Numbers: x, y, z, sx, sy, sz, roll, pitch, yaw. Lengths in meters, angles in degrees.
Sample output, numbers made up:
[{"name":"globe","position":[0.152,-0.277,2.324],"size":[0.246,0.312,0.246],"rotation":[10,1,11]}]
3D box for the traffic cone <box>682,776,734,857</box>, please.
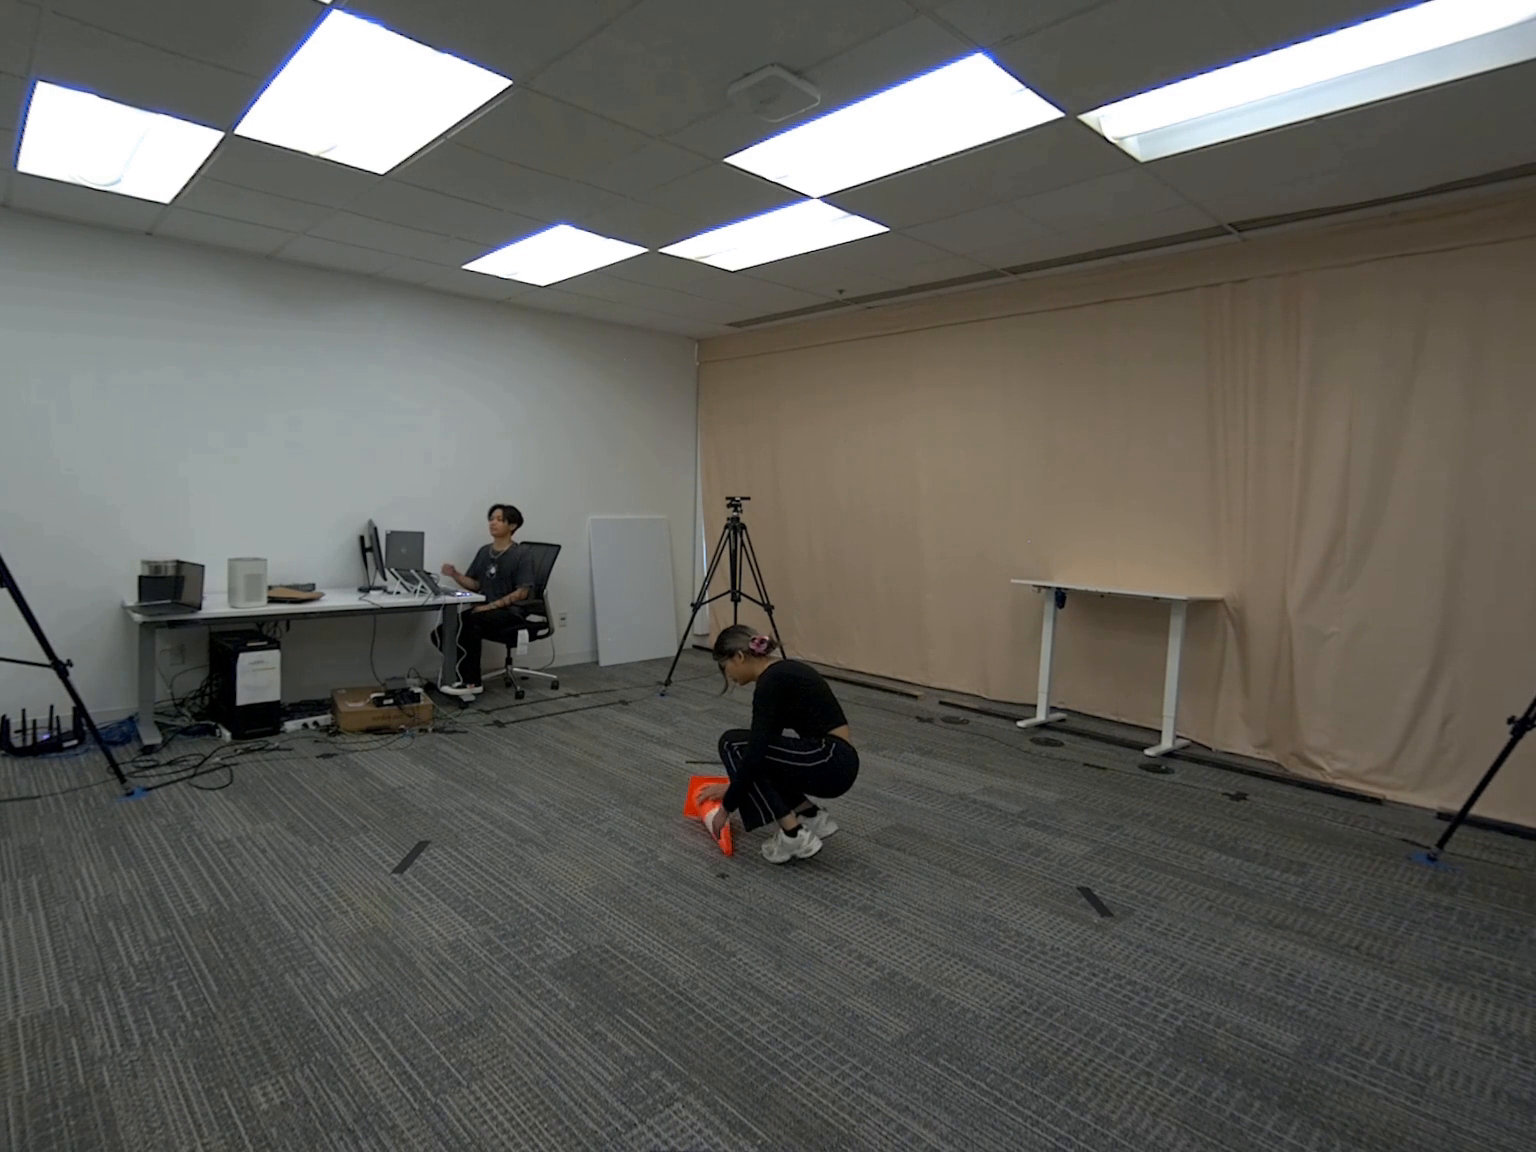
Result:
[{"name":"traffic cone","position":[-0.205,1.015,3.445],"size":[0.200,0.203,0.392],"rotation":[6,18,-17]}]
